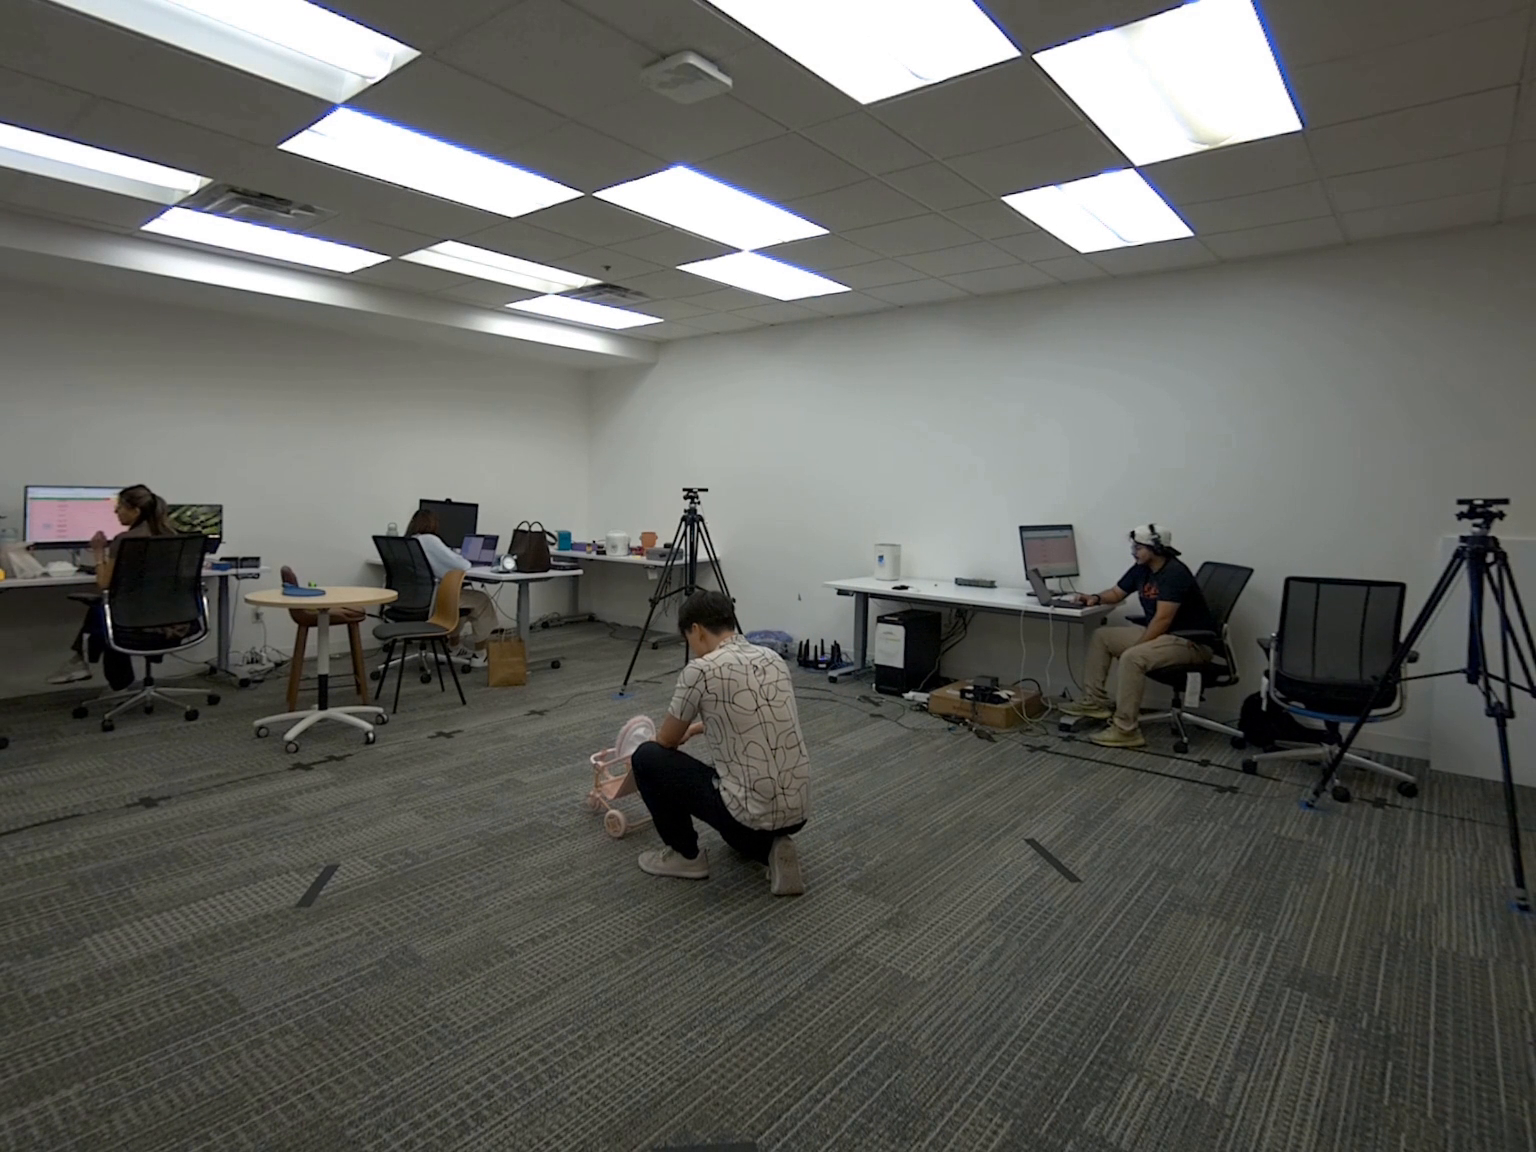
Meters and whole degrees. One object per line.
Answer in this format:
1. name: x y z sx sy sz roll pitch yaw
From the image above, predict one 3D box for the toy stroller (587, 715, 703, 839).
1. toy stroller: -0.583 0.800 3.502 0.355 0.530 0.273 29 18 36
